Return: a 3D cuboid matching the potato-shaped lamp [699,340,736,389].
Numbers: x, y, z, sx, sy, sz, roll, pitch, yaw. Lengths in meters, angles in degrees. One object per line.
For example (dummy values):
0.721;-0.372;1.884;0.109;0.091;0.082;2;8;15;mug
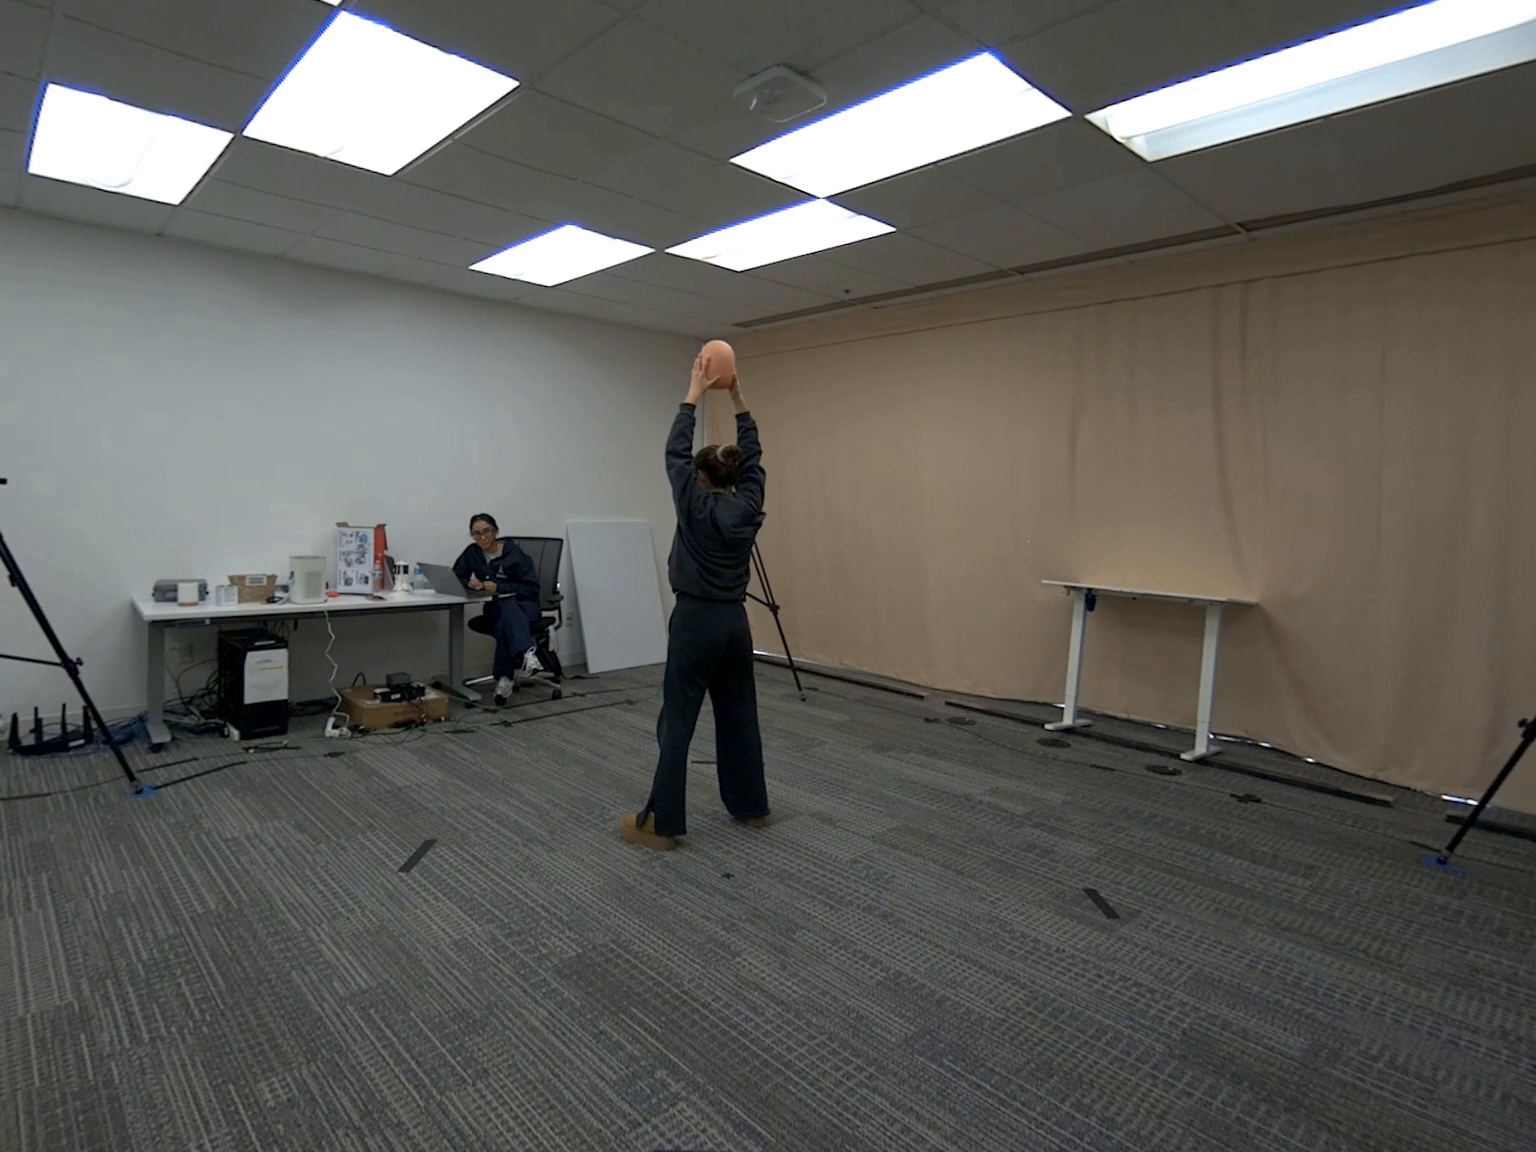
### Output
-0.229;-0.872;3.467;0.161;0.197;0.176;-3;13;-35;potato-shaped lamp
